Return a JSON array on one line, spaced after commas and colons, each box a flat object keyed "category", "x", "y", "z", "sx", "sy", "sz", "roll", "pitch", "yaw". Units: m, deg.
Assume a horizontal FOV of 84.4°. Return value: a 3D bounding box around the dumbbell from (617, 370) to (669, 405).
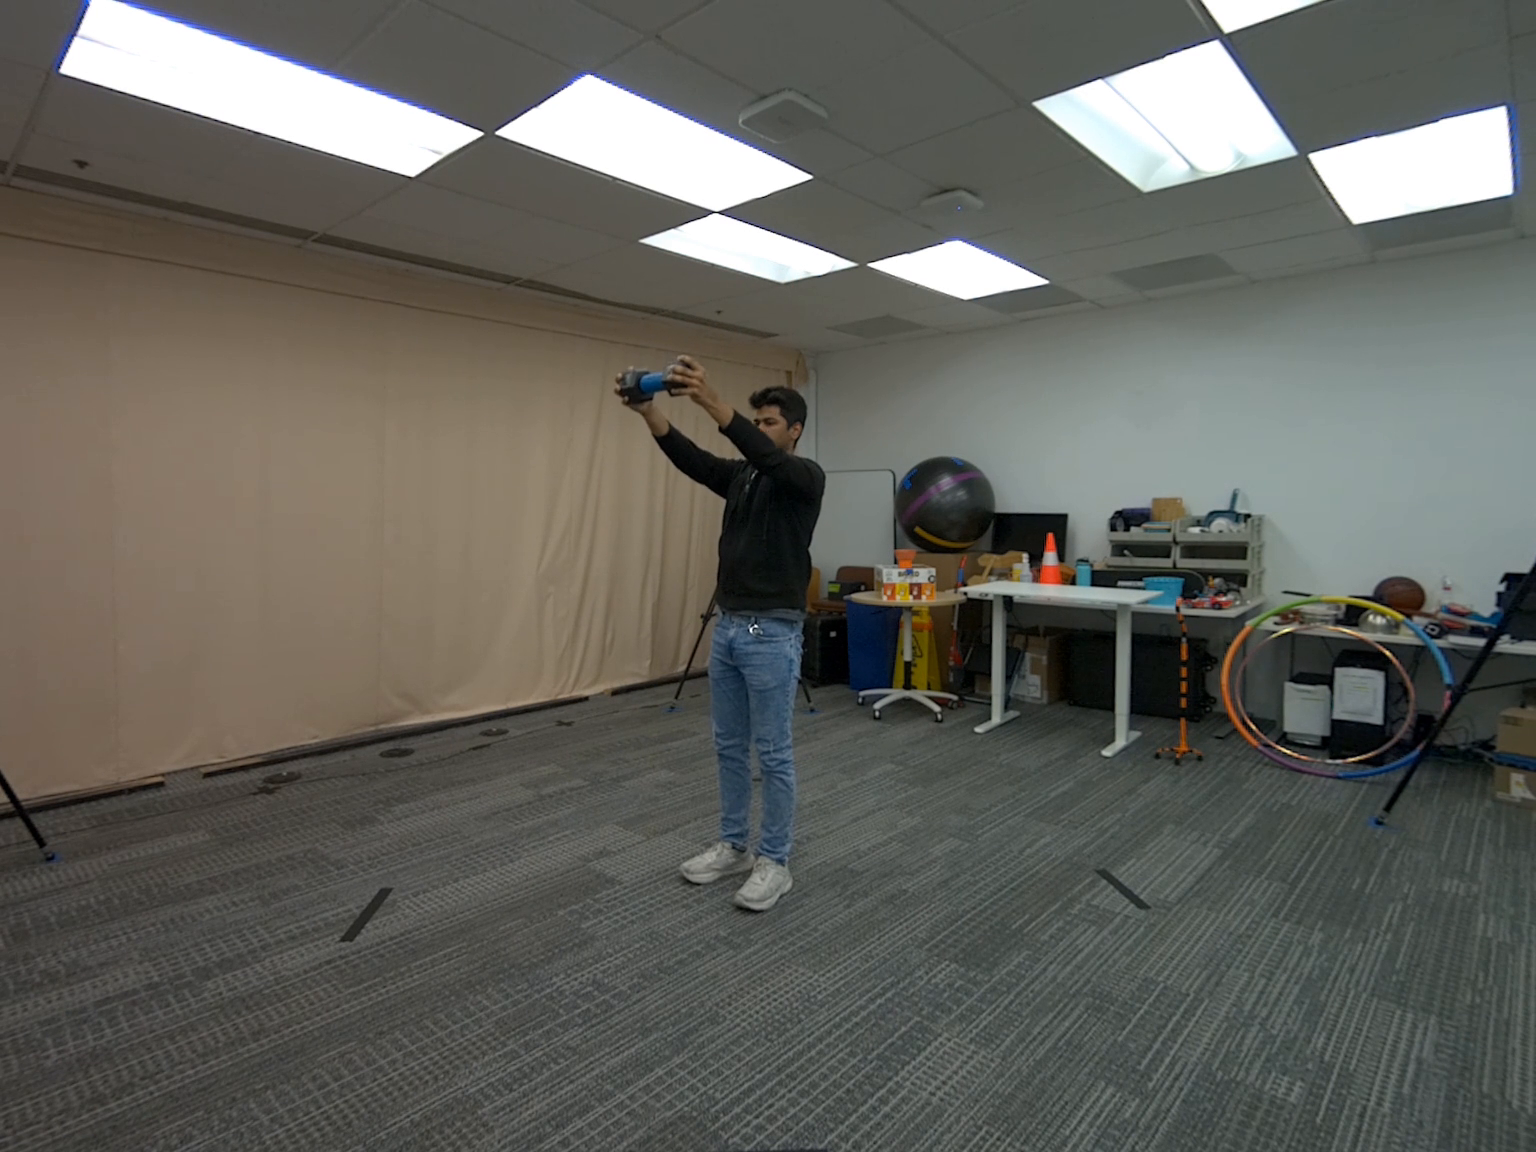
[{"category": "dumbbell", "x": -0.347, "y": -0.623, "z": 2.703, "sx": 0.303, "sy": 0.123, "sz": 0.105, "roll": 3, "pitch": -18, "yaw": 44}]
